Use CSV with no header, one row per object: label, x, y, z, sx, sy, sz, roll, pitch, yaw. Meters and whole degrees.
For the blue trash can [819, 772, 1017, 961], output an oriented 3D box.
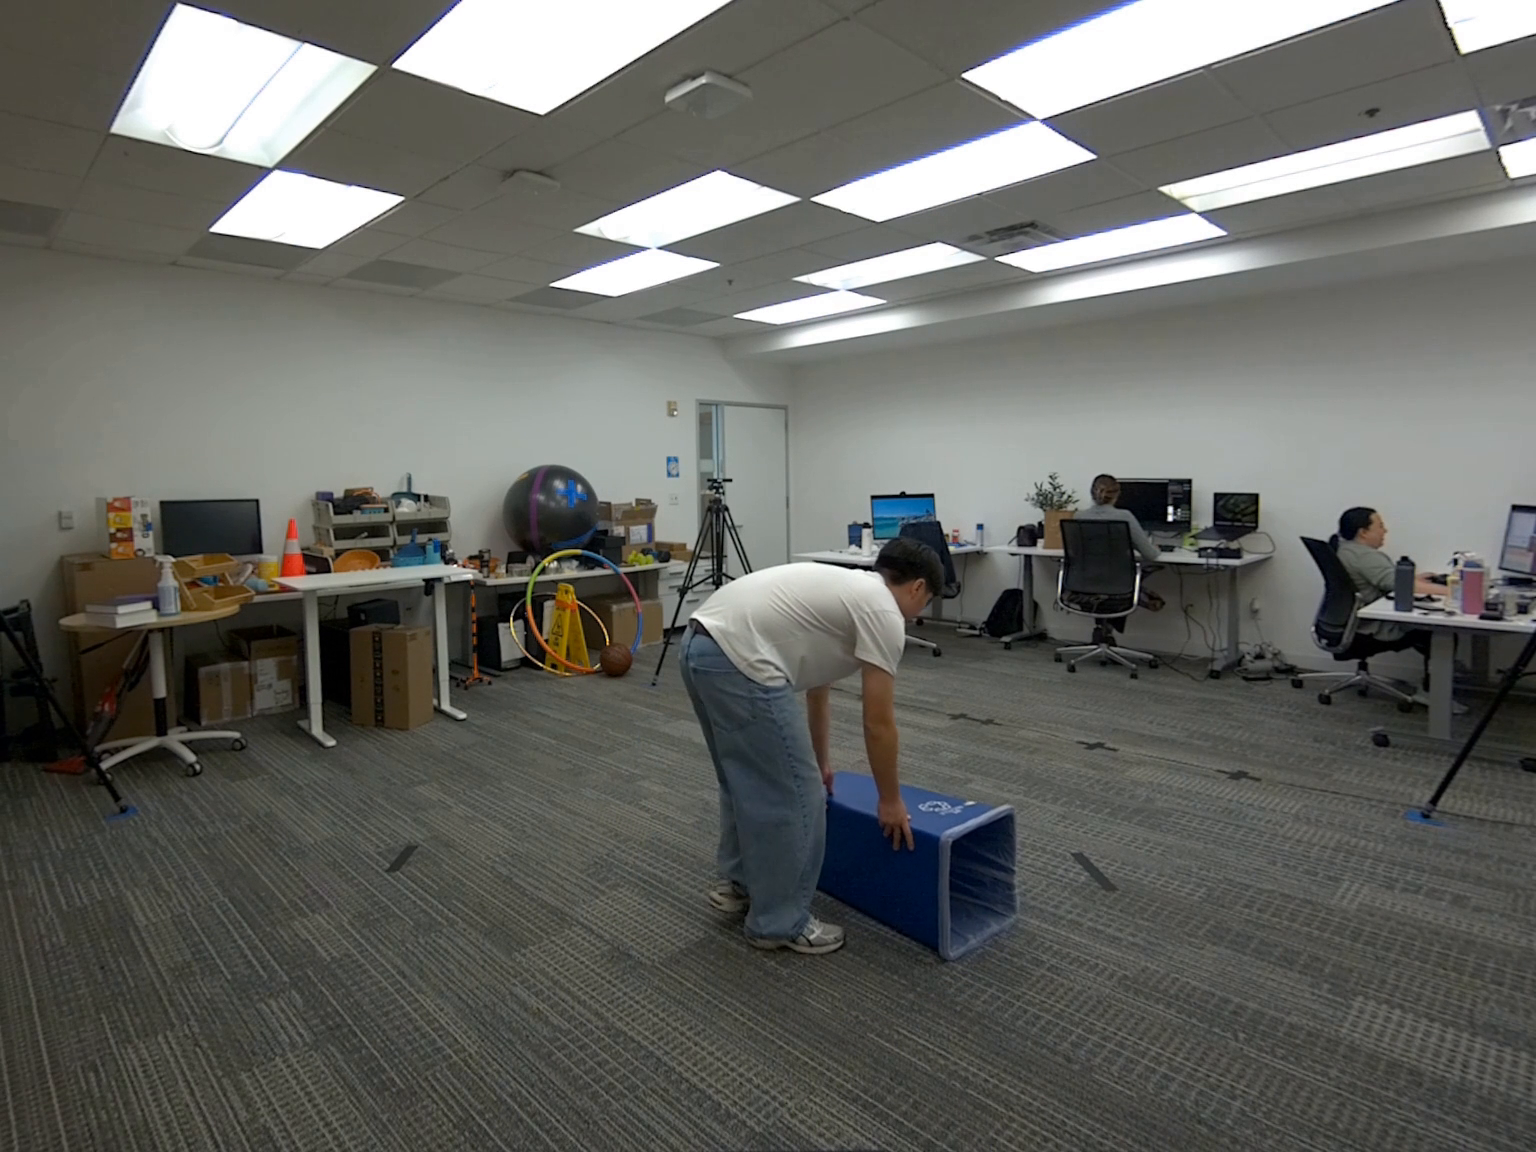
blue trash can,0.414,0.902,2.838,0.364,0.377,0.734,-4,4,-41
